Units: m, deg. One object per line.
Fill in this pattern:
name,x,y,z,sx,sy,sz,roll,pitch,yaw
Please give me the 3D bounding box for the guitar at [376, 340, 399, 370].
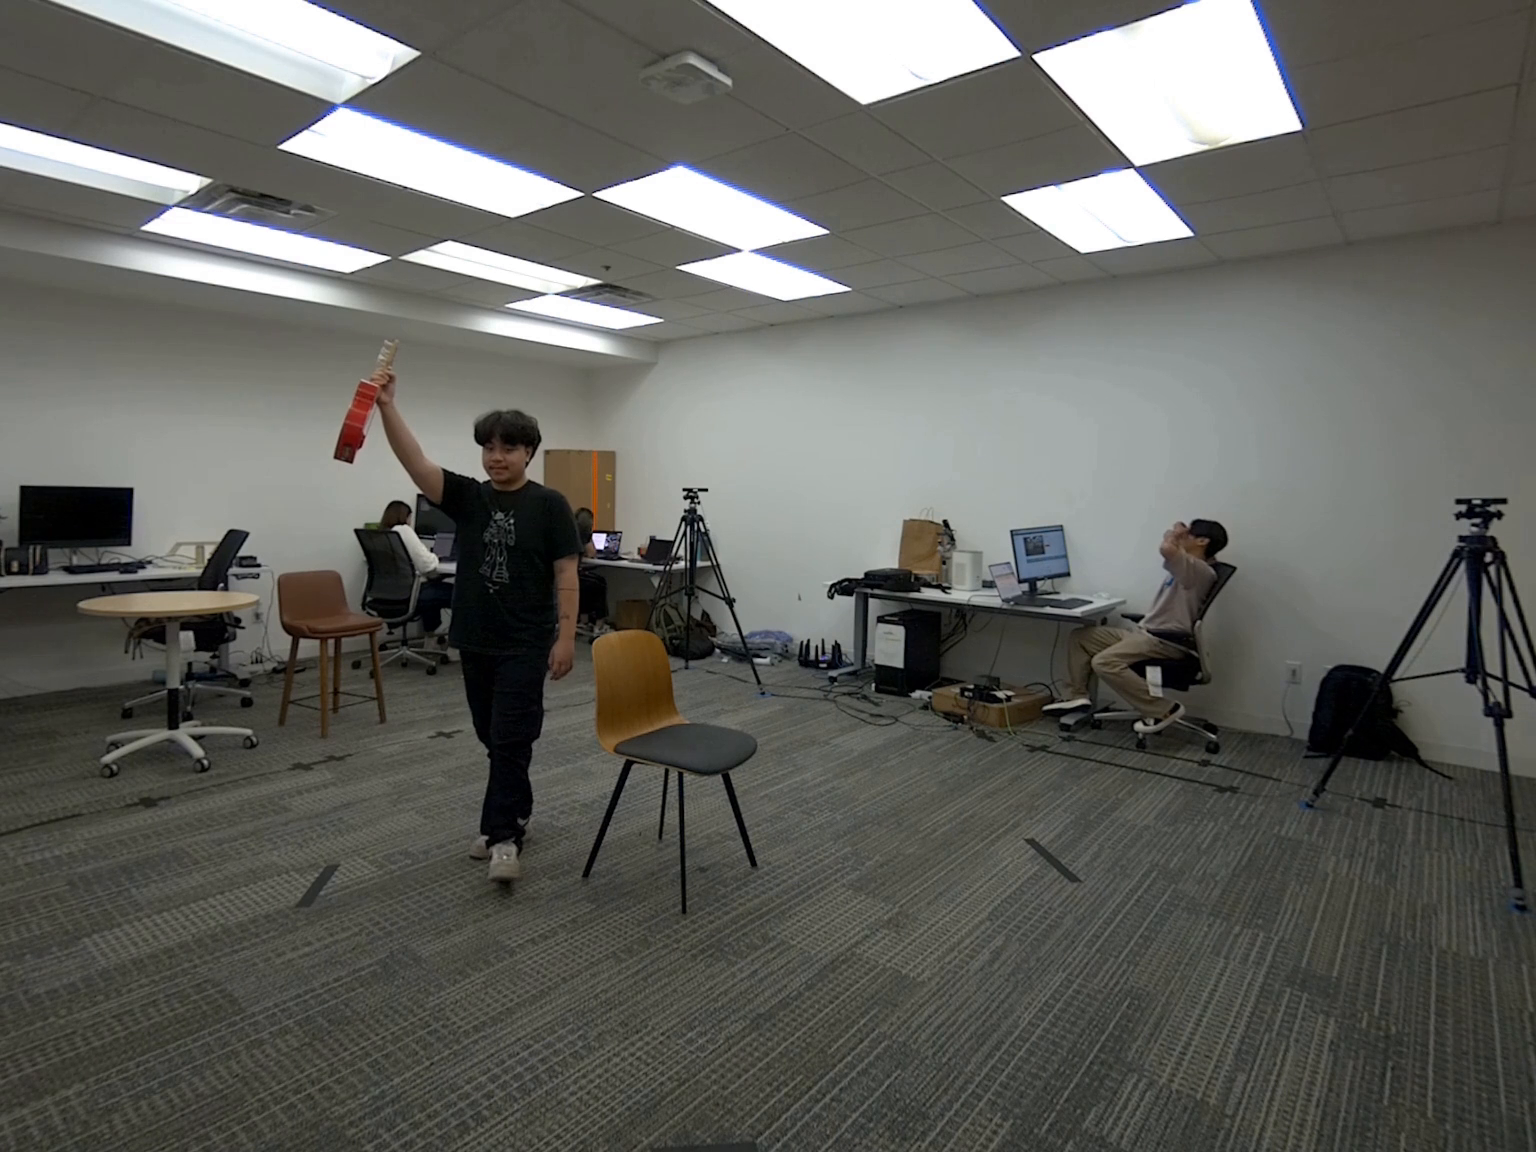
guitar,-1.311,-0.571,2.767,0.069,0.513,0.192,16,-45,-22
